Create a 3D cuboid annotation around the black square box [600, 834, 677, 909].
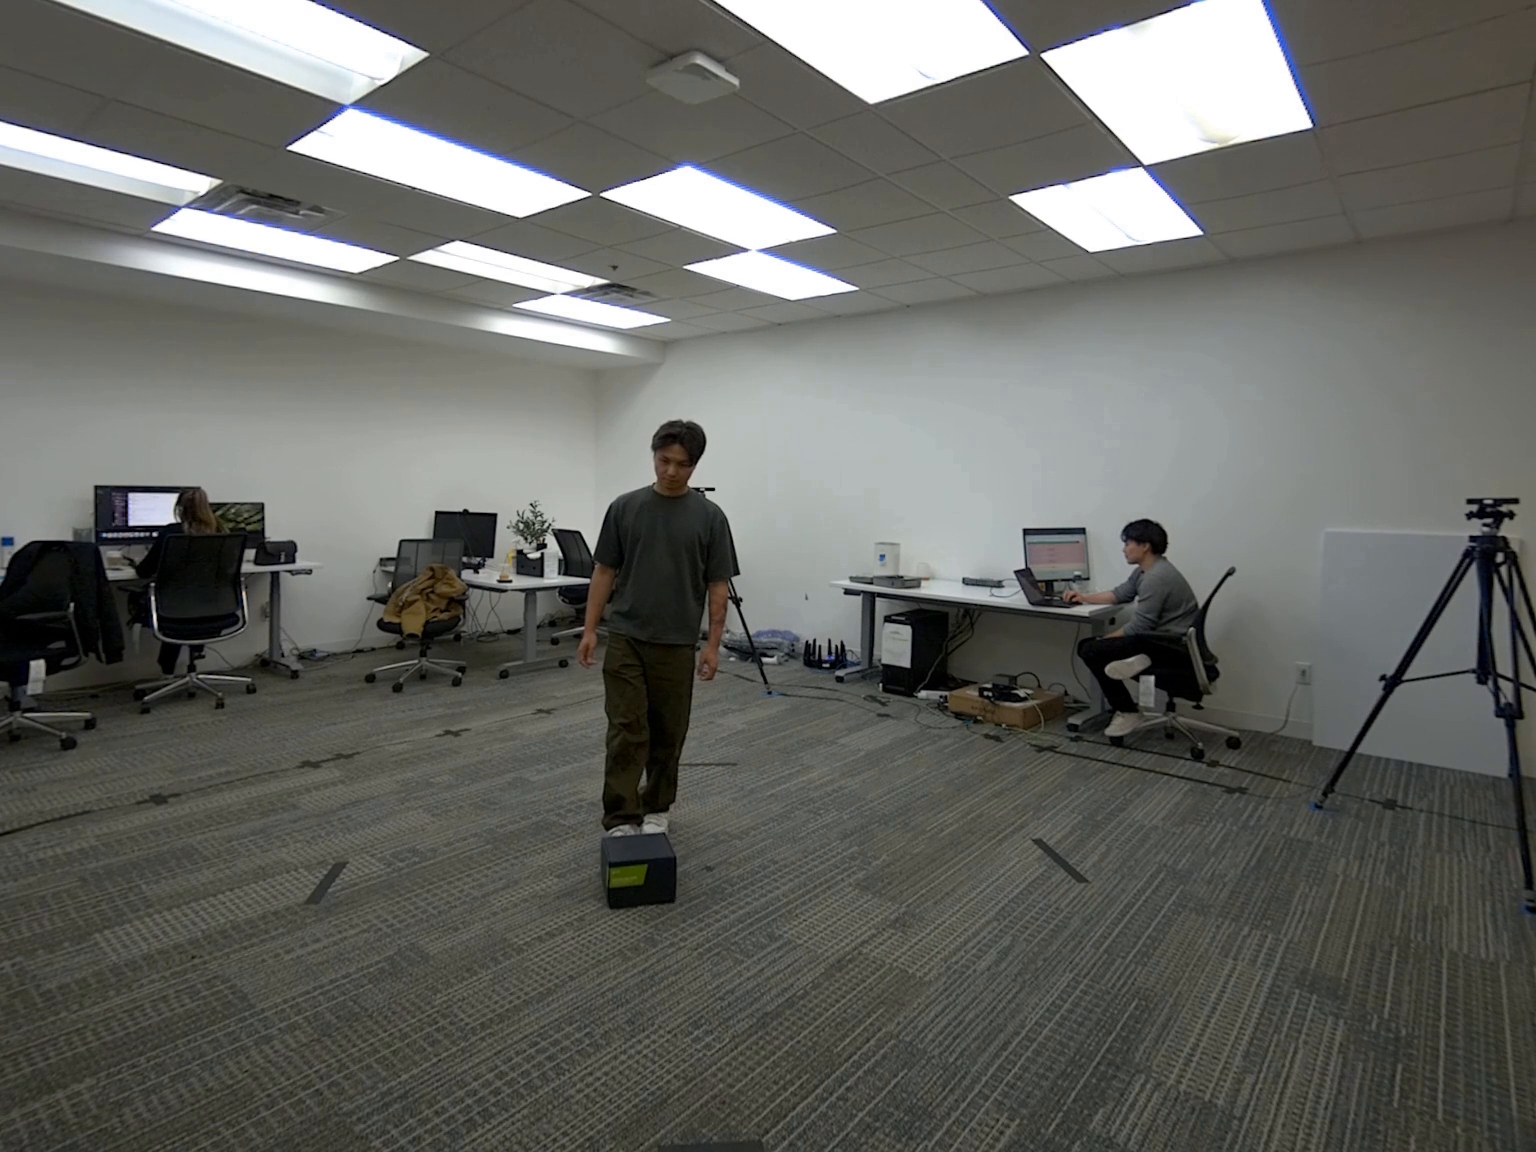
[{"bbox_3d":[-0.461,0.995,2.916,0.224,0.155,0.221,0,5,-17],"label":"black square box"}]
